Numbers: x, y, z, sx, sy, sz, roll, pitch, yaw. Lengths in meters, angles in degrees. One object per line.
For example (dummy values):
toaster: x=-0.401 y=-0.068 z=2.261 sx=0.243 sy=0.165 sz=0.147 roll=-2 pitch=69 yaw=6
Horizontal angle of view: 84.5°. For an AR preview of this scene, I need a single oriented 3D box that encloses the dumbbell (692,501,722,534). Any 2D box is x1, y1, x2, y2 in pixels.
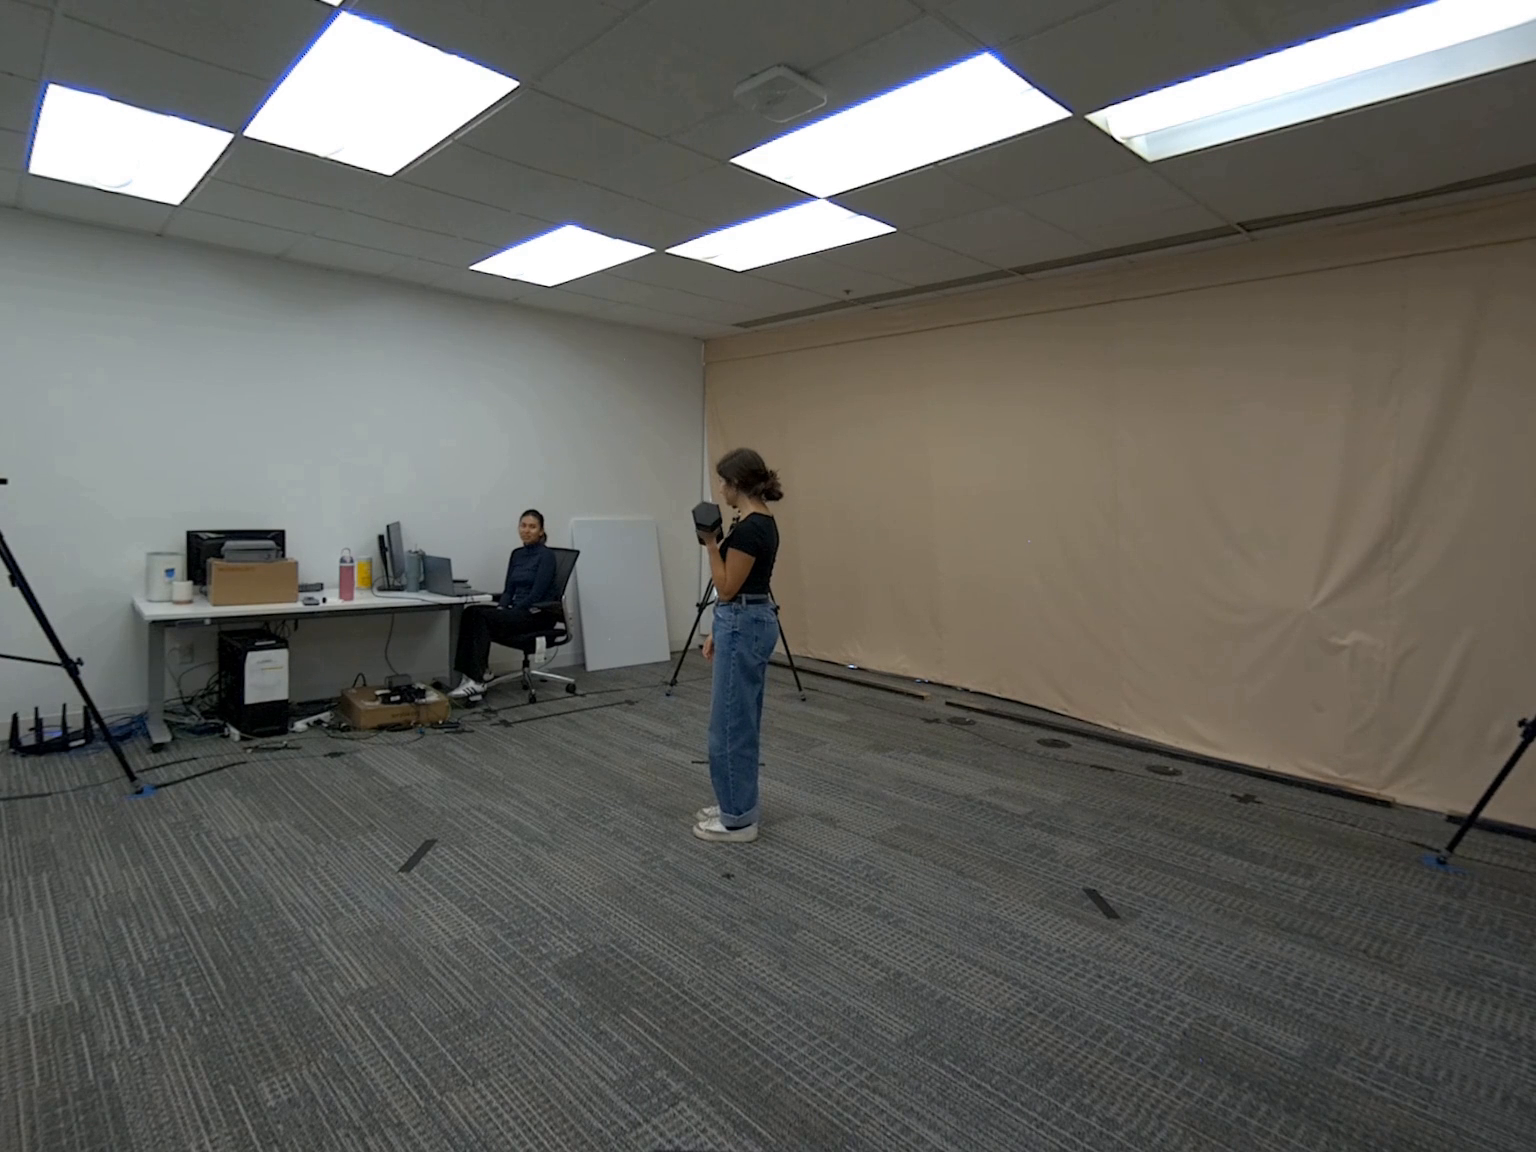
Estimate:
dumbbell: x=-0.247 y=-0.199 z=3.347 sx=0.108 sy=0.124 sz=0.290 roll=-15 pitch=-13 yaw=-6
